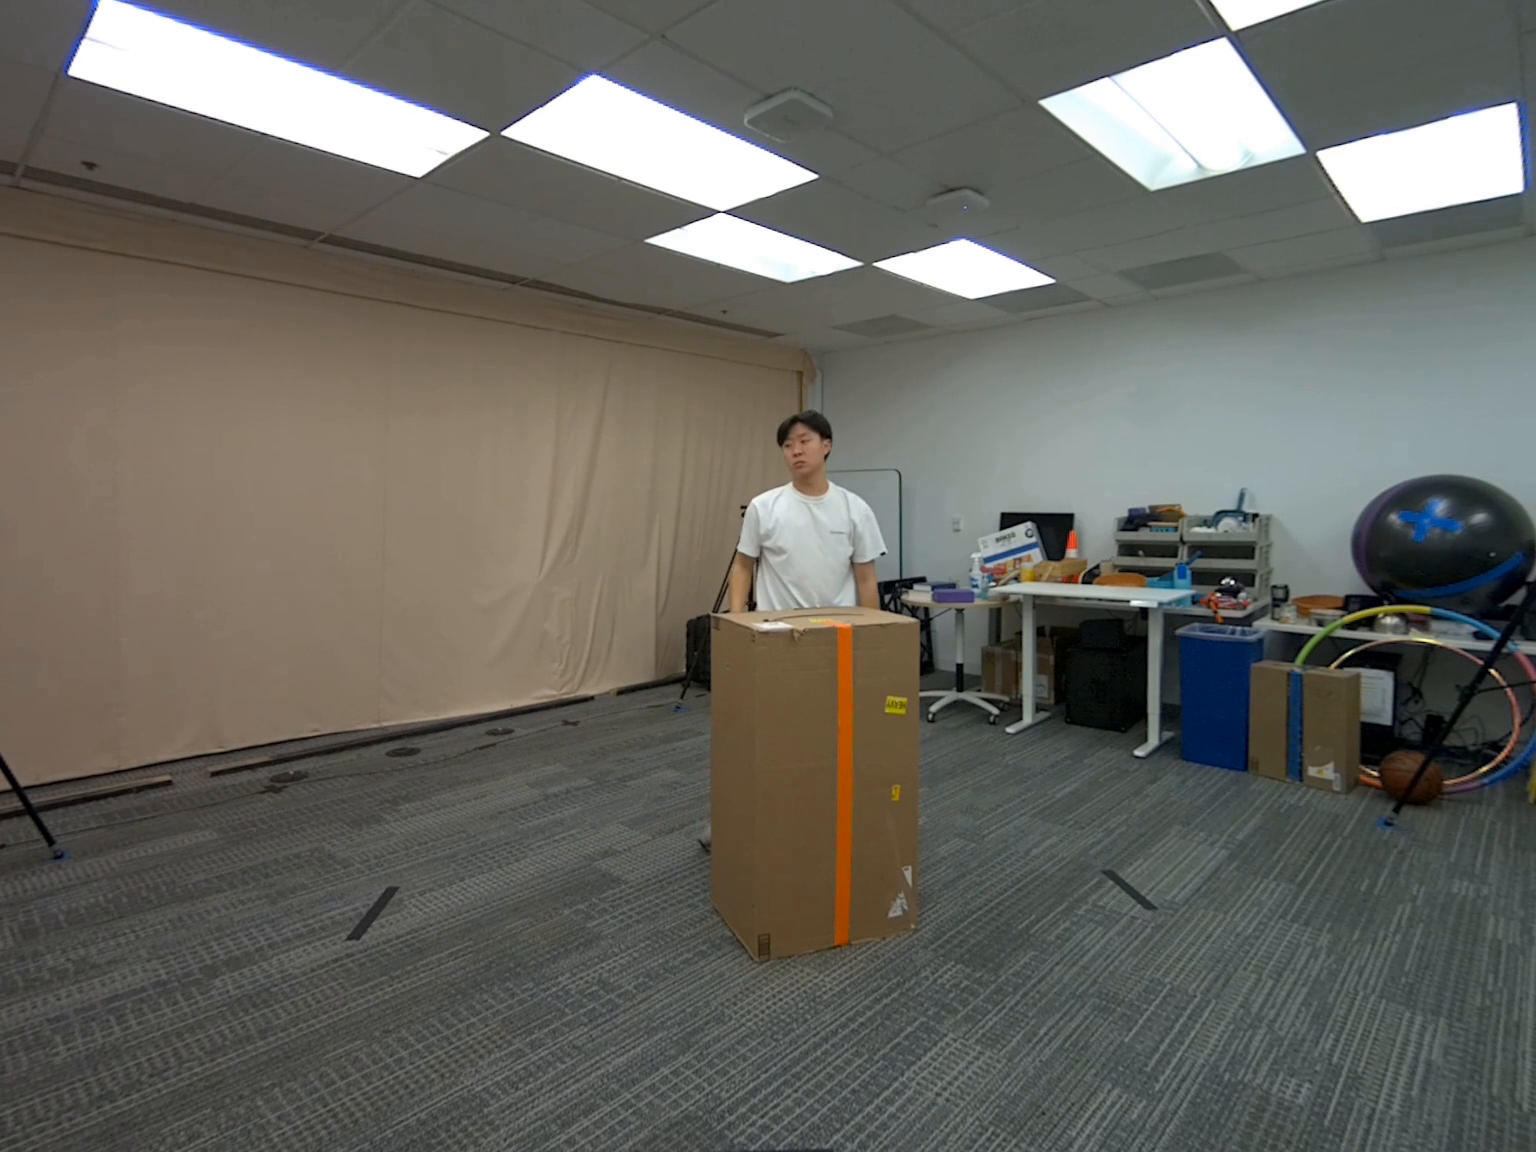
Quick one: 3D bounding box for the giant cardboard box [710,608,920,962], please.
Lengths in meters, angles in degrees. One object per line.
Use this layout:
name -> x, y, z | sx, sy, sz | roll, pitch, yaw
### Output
giant cardboard box -> 0.148, 0.646, 2.828 | 0.565, 1.024, 0.436 | -1, 4, -22
